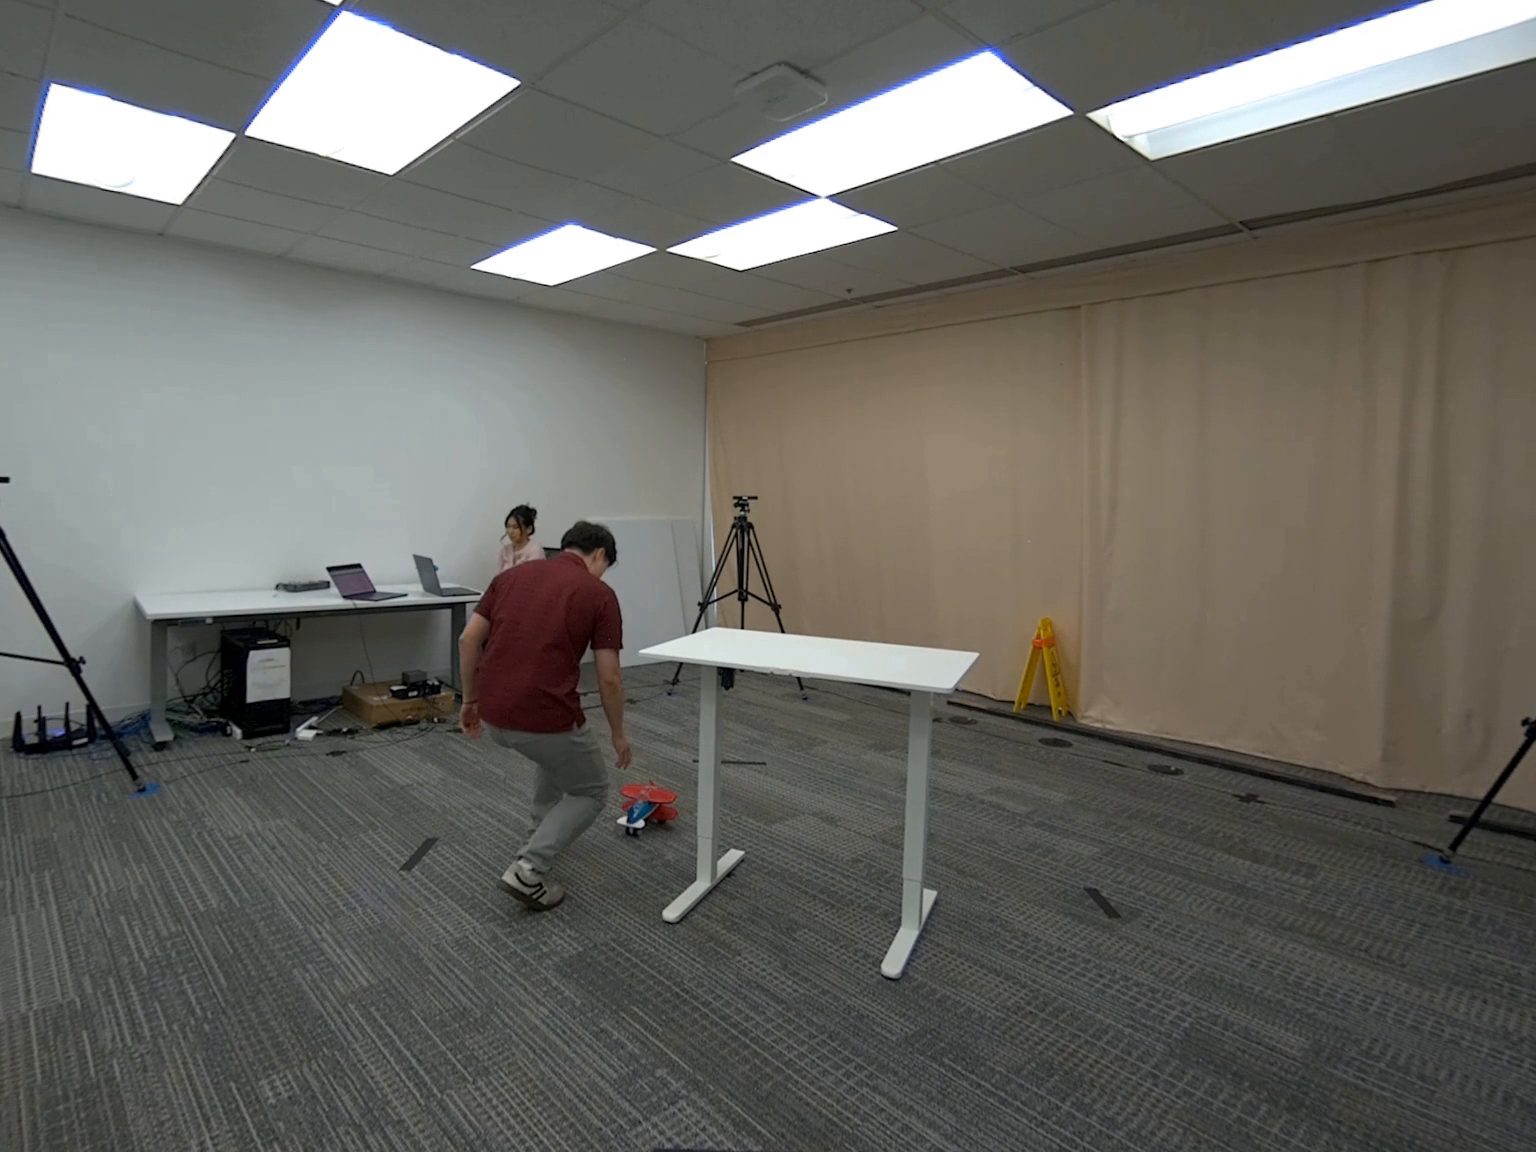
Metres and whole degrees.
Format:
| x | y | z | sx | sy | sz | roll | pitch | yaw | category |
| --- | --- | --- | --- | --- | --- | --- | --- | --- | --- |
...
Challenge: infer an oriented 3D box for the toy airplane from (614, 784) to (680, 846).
| x | y | z | sx | sy | sz | roll | pitch | yaw | category |
| --- | --- | --- | --- | --- | --- | --- | --- | --- | --- |
| -0.503 | 0.988 | 3.517 | 0.250 | 0.156 | 0.261 | 3 | 4 | -6 | toy airplane |
